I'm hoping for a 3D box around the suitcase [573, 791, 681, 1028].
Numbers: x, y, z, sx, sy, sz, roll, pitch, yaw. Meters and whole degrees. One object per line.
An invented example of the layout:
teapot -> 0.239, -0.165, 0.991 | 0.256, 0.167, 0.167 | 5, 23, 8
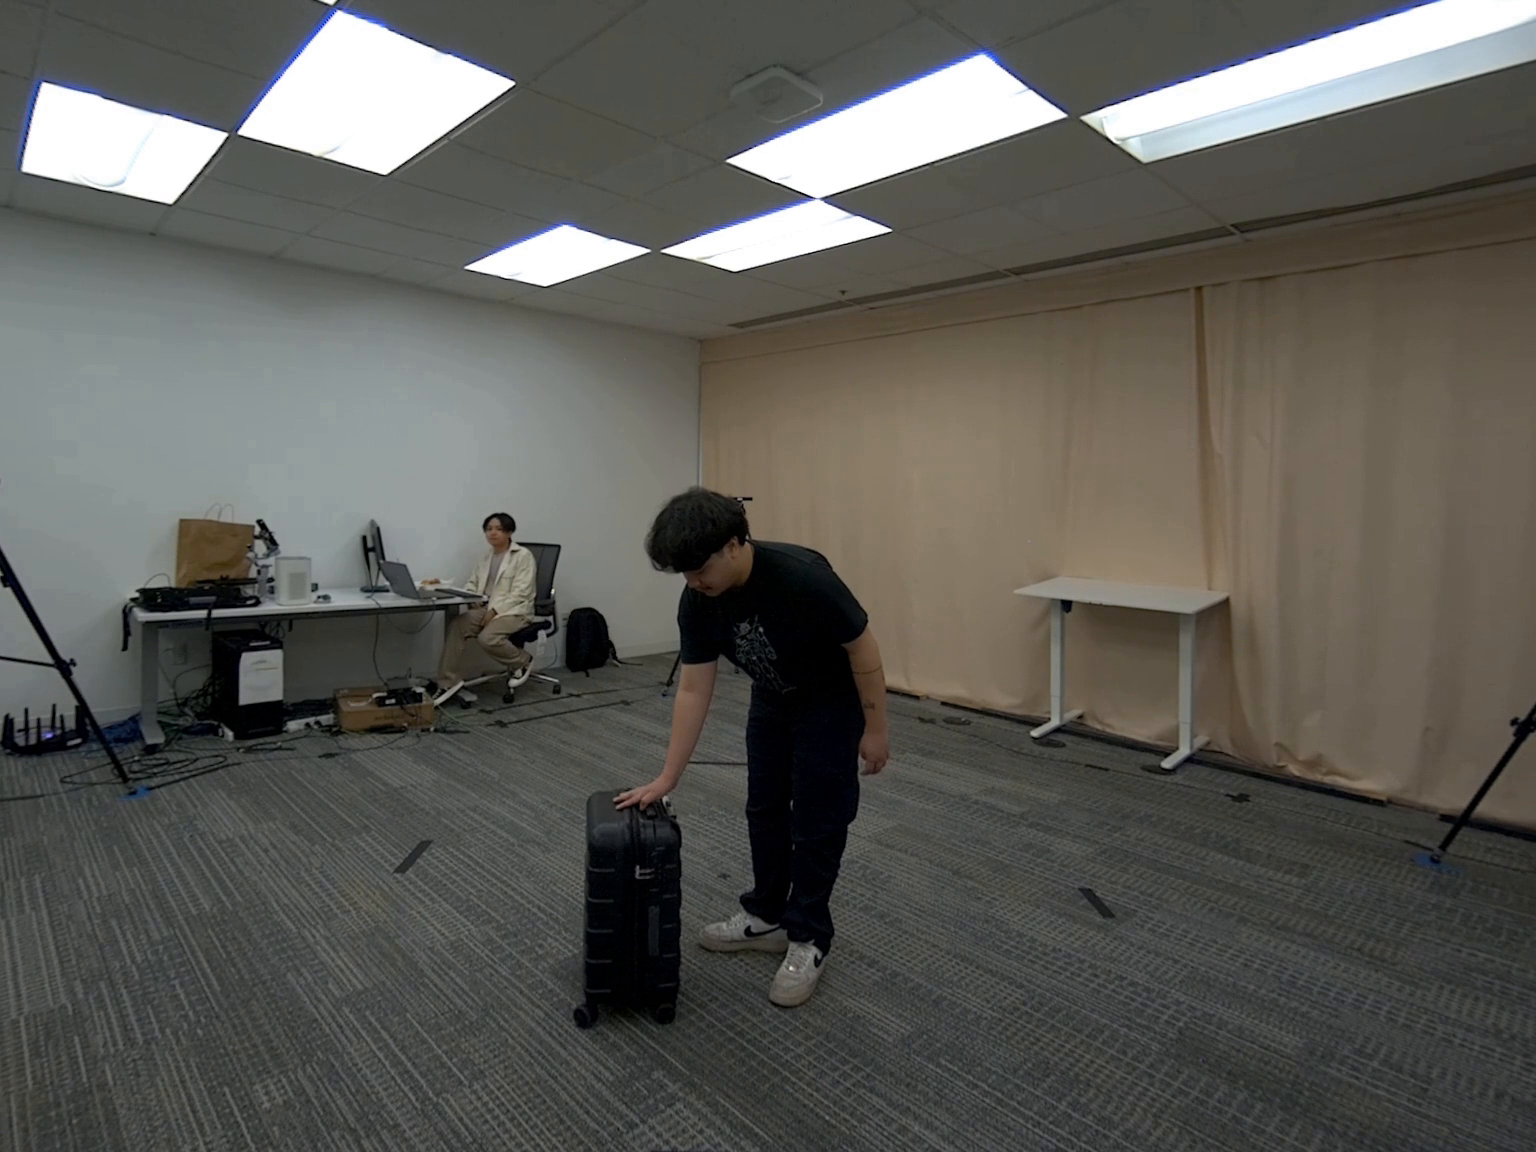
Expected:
suitcase -> -0.386, 0.894, 2.345 | 0.246, 0.548, 0.379 | 1, 4, -10
